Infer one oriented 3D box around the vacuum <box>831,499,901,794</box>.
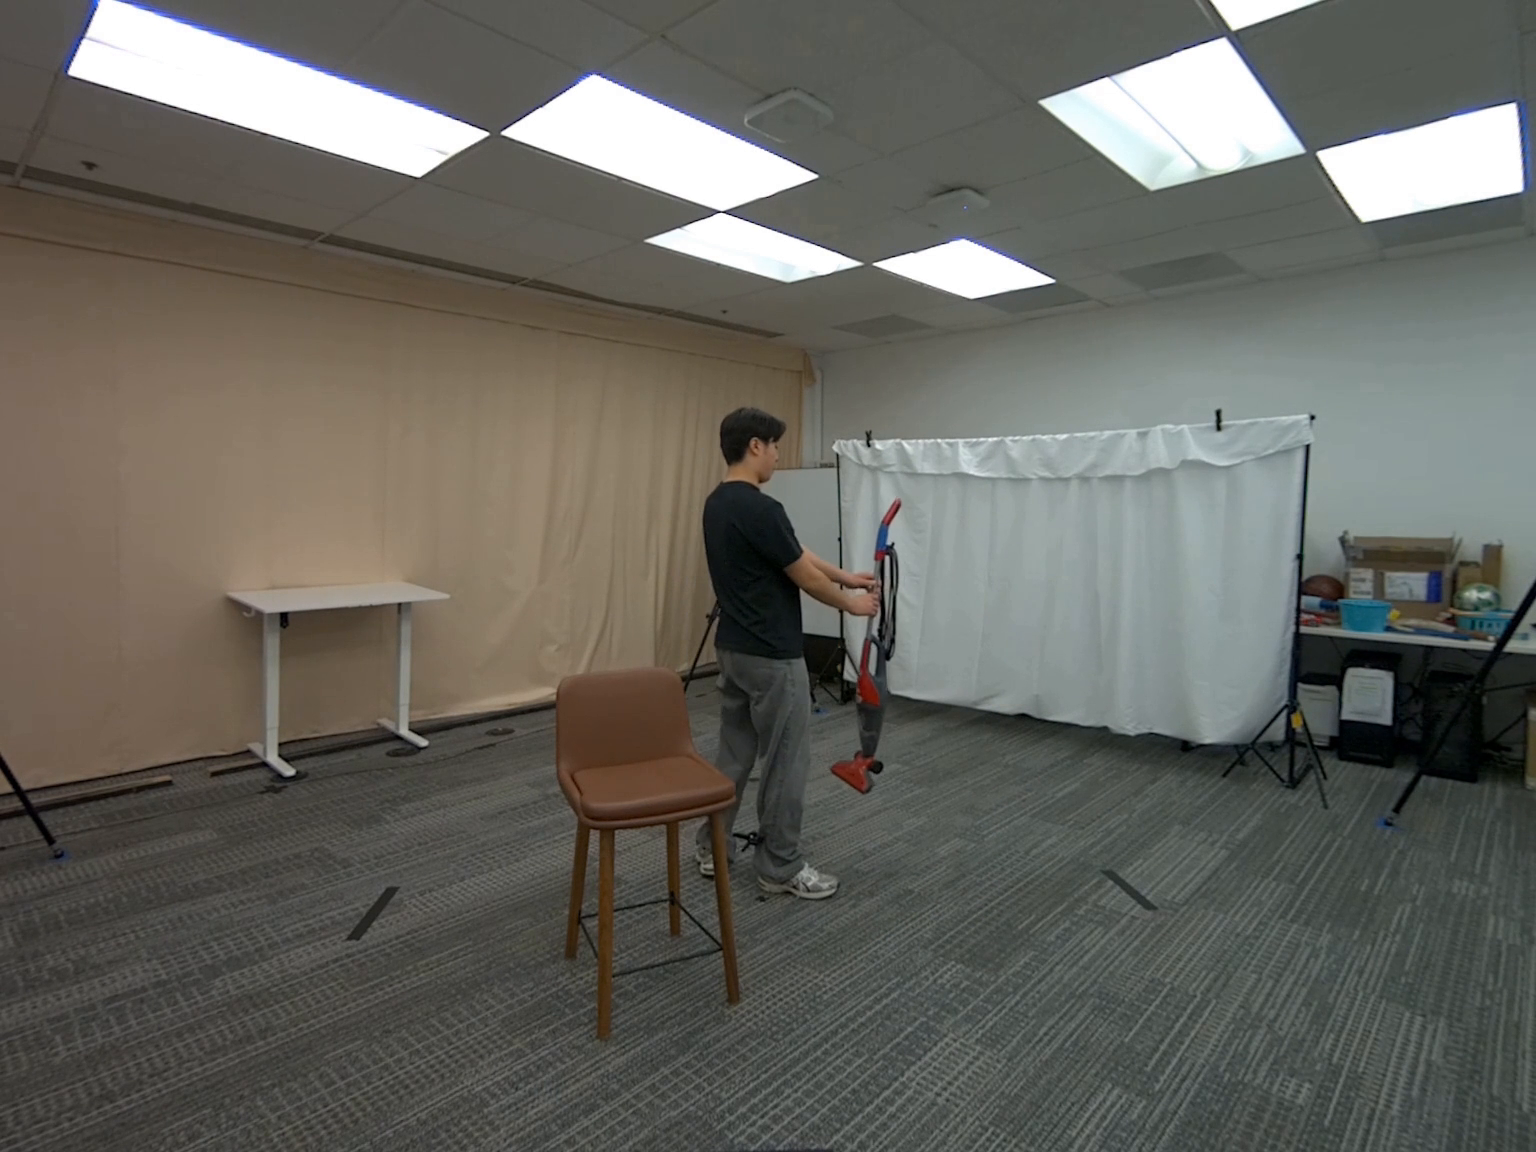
[{"bbox_3d":[0.432,0.235,3.223,0.140,1.049,0.259,8,1,-24],"label":"vacuum"}]
